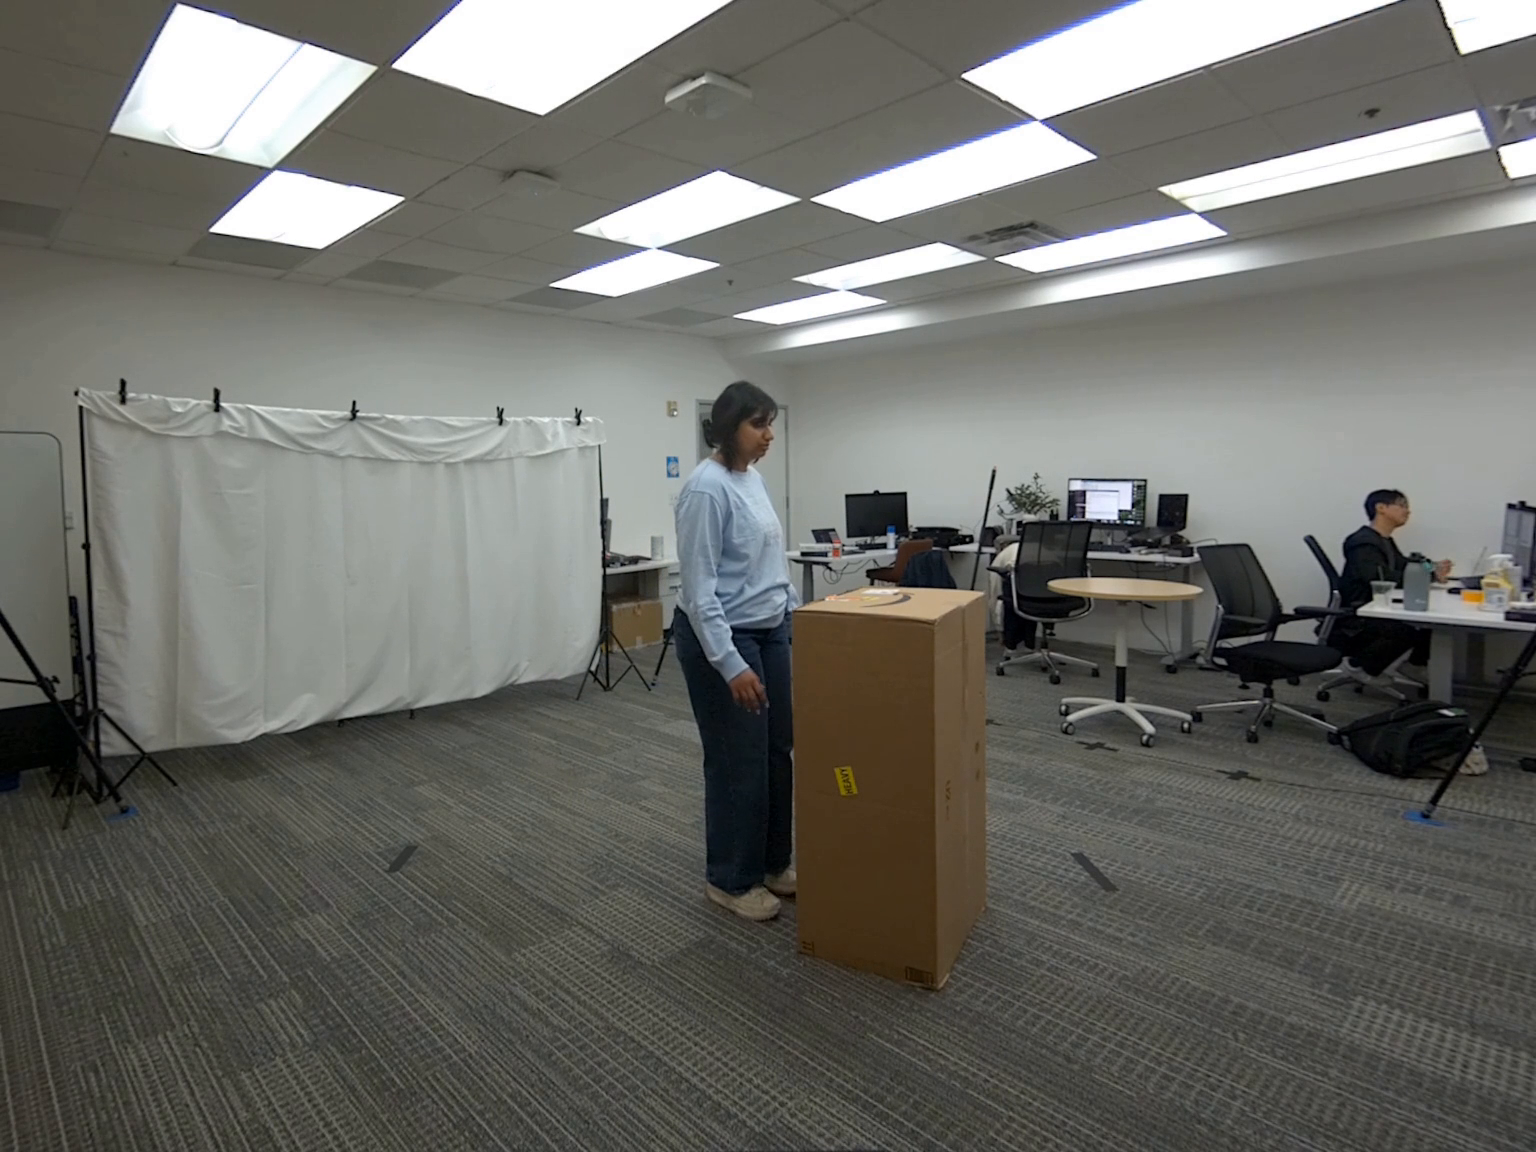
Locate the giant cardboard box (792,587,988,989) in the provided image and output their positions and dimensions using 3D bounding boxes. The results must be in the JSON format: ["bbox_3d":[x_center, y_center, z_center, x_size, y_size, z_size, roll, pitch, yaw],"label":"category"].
[{"bbox_3d":[0.394,0.581,2.628,0.458,1.023,0.571,1,5,30],"label":"giant cardboard box"}]
